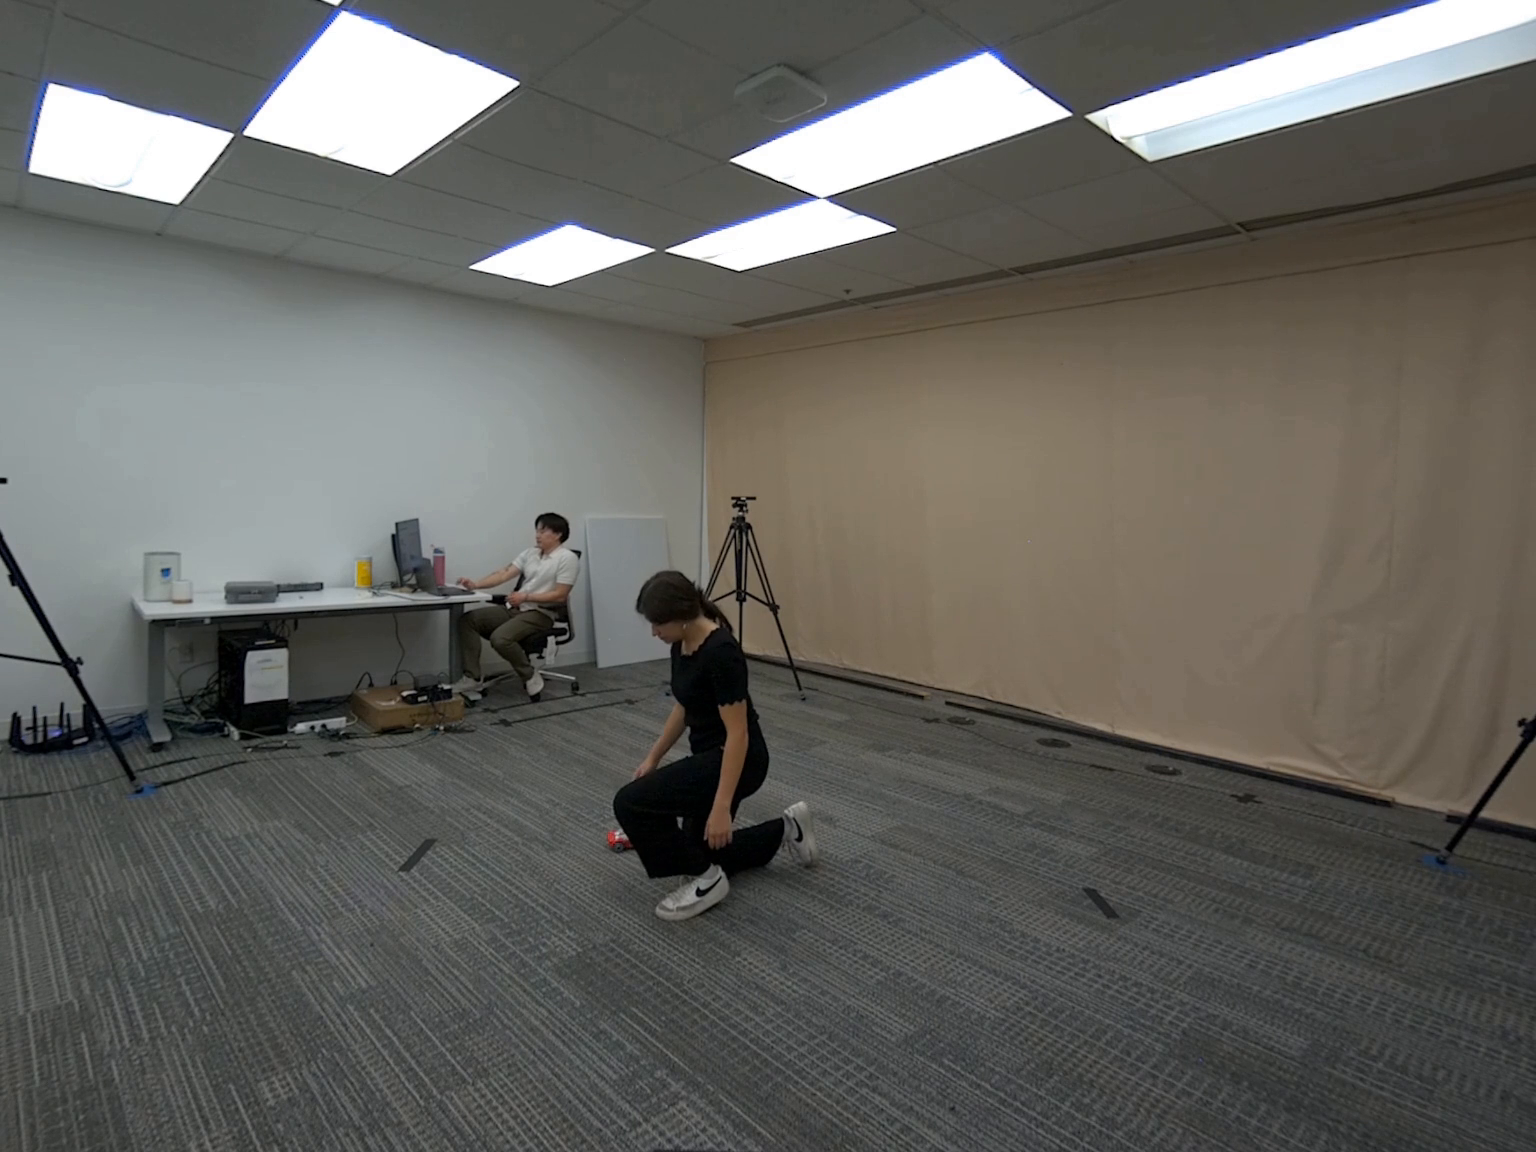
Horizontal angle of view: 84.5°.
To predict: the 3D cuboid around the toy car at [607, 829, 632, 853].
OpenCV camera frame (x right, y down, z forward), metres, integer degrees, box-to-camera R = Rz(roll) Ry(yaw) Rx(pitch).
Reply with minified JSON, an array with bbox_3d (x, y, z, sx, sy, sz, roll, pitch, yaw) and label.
[{"bbox_3d":[-0.518,1.043,3.359,0.252,0.083,0.132,-11,8,-16],"label":"toy car"}]
